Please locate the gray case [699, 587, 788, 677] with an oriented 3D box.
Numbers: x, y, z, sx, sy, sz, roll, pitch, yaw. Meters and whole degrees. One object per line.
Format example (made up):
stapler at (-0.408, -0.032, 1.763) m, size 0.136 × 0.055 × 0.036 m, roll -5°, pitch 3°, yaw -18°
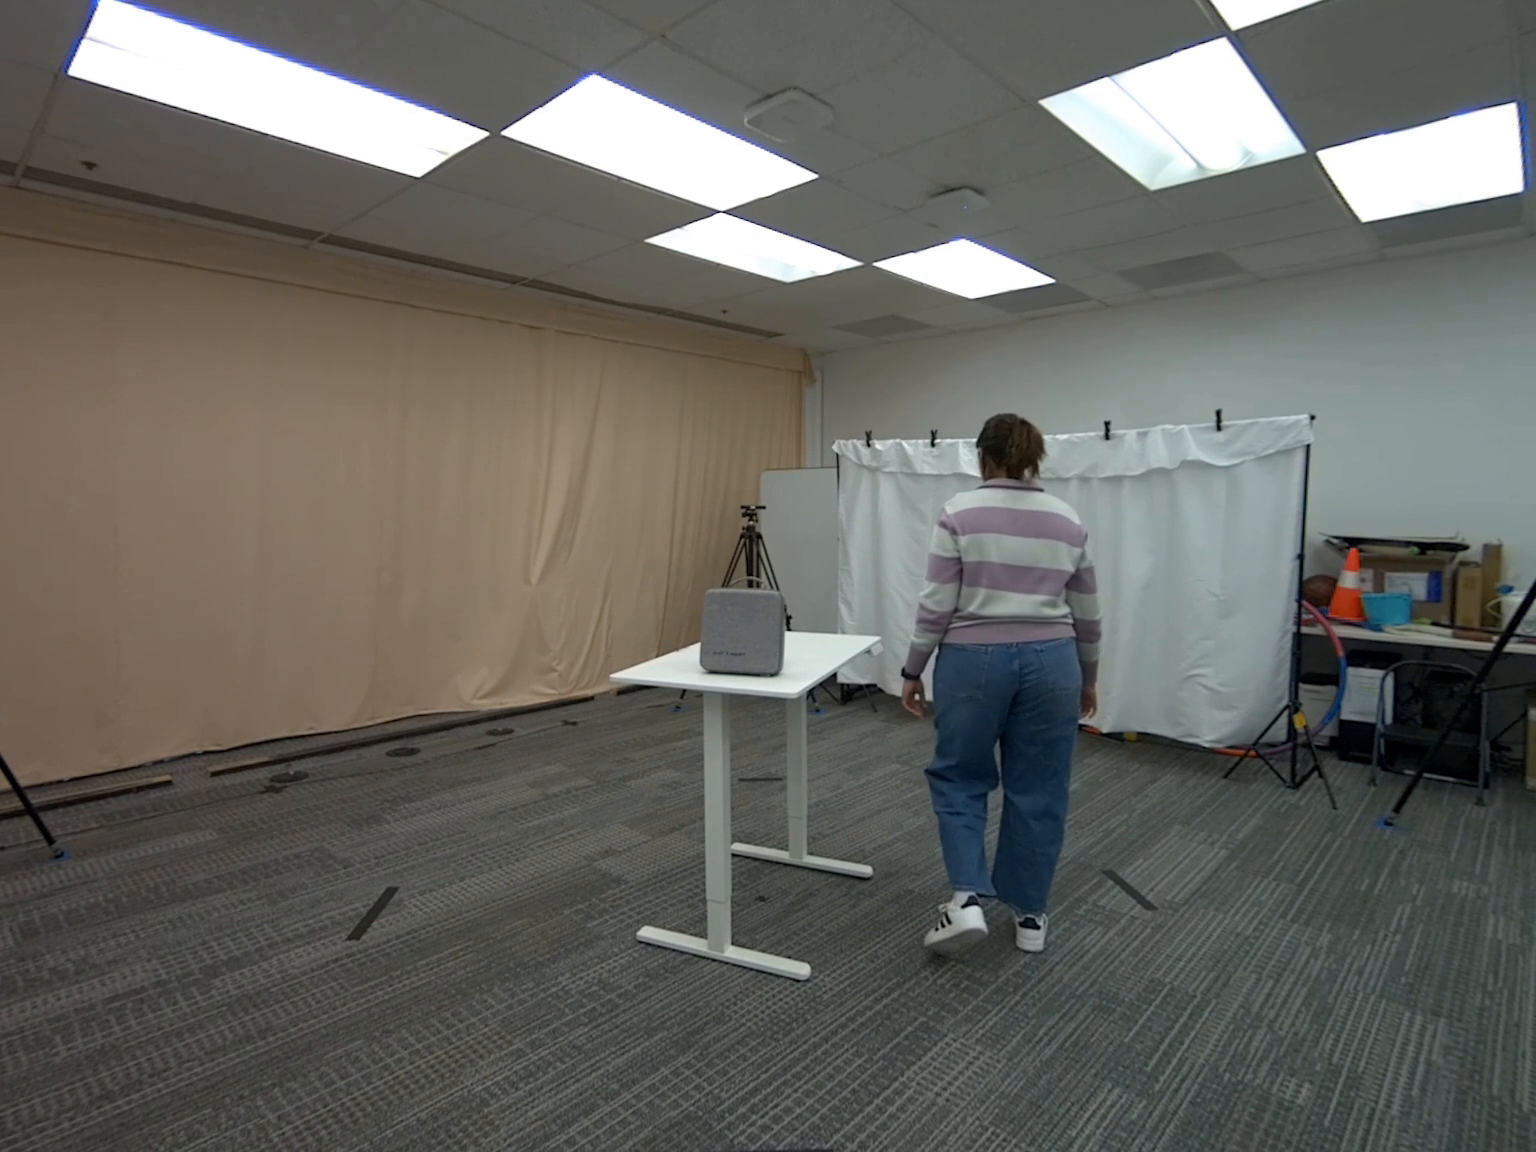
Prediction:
gray case at (-0.074, 0.169, 2.584) m, size 0.262 × 0.261 × 0.102 m, roll 2°, pitch -6°, yaw 17°
